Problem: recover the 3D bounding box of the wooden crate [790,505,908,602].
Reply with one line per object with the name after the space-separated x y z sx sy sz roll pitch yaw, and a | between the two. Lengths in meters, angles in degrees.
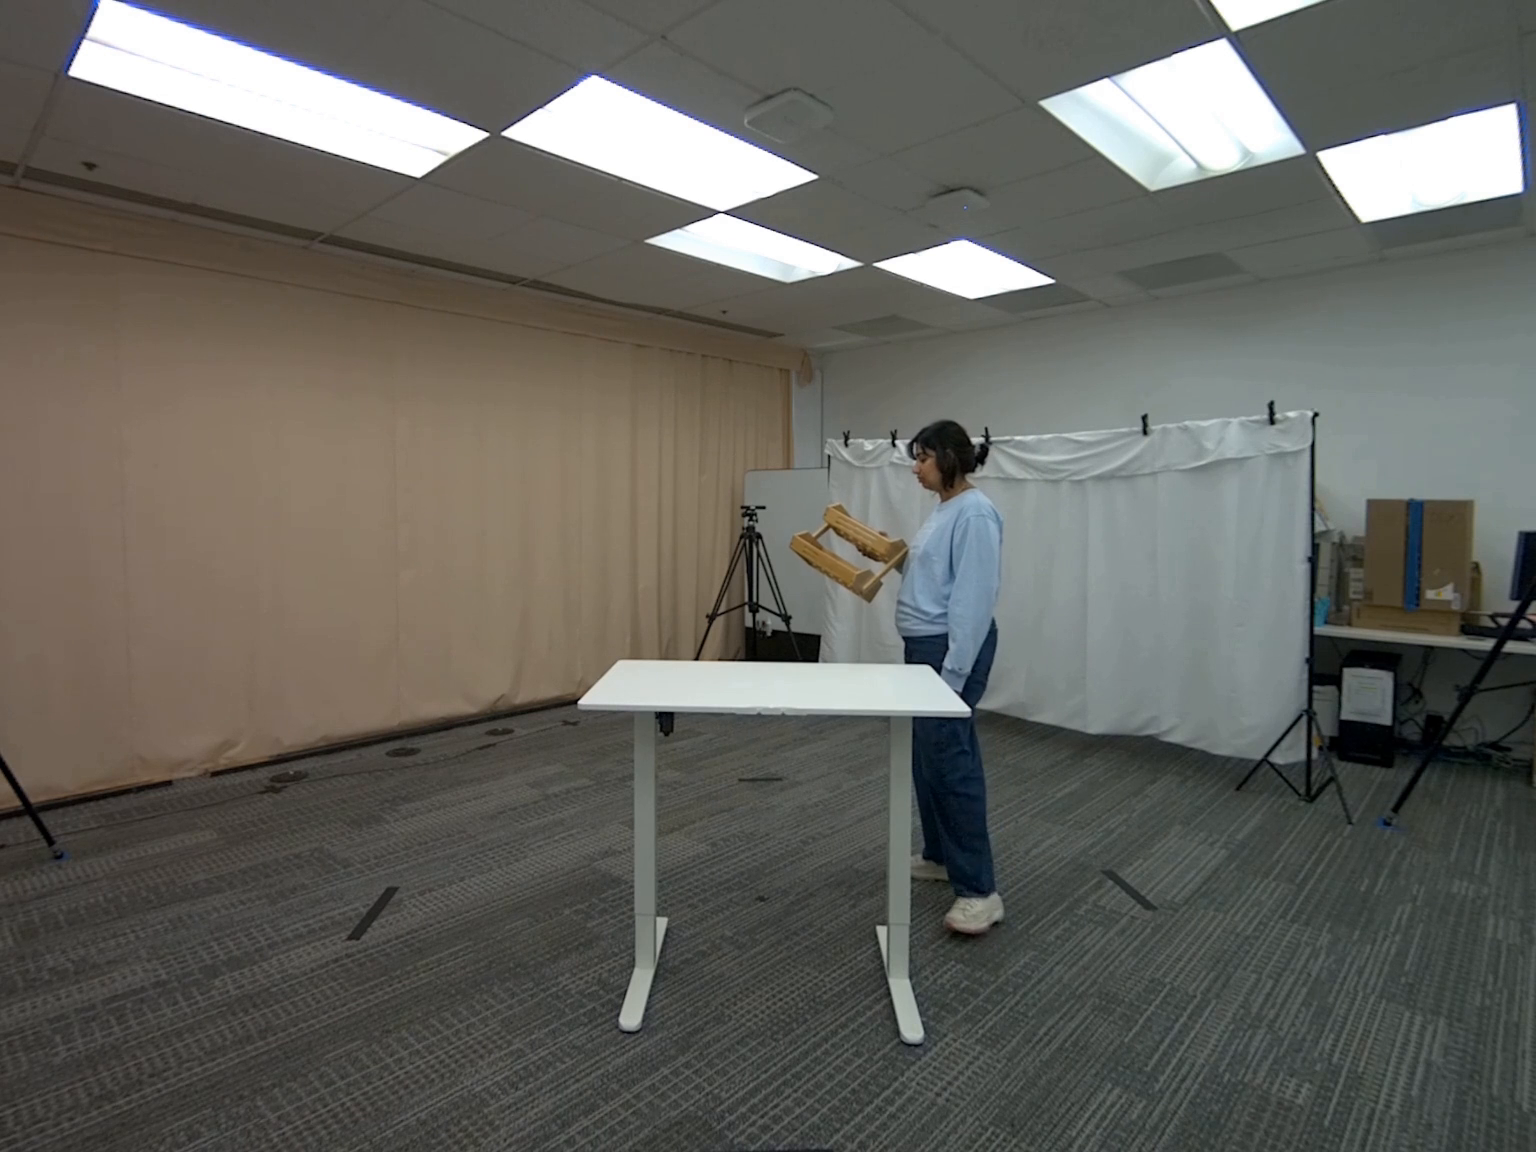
0.321 -0.108 3.193 0.335 0.273 0.292 34 -3 30 | wooden crate
